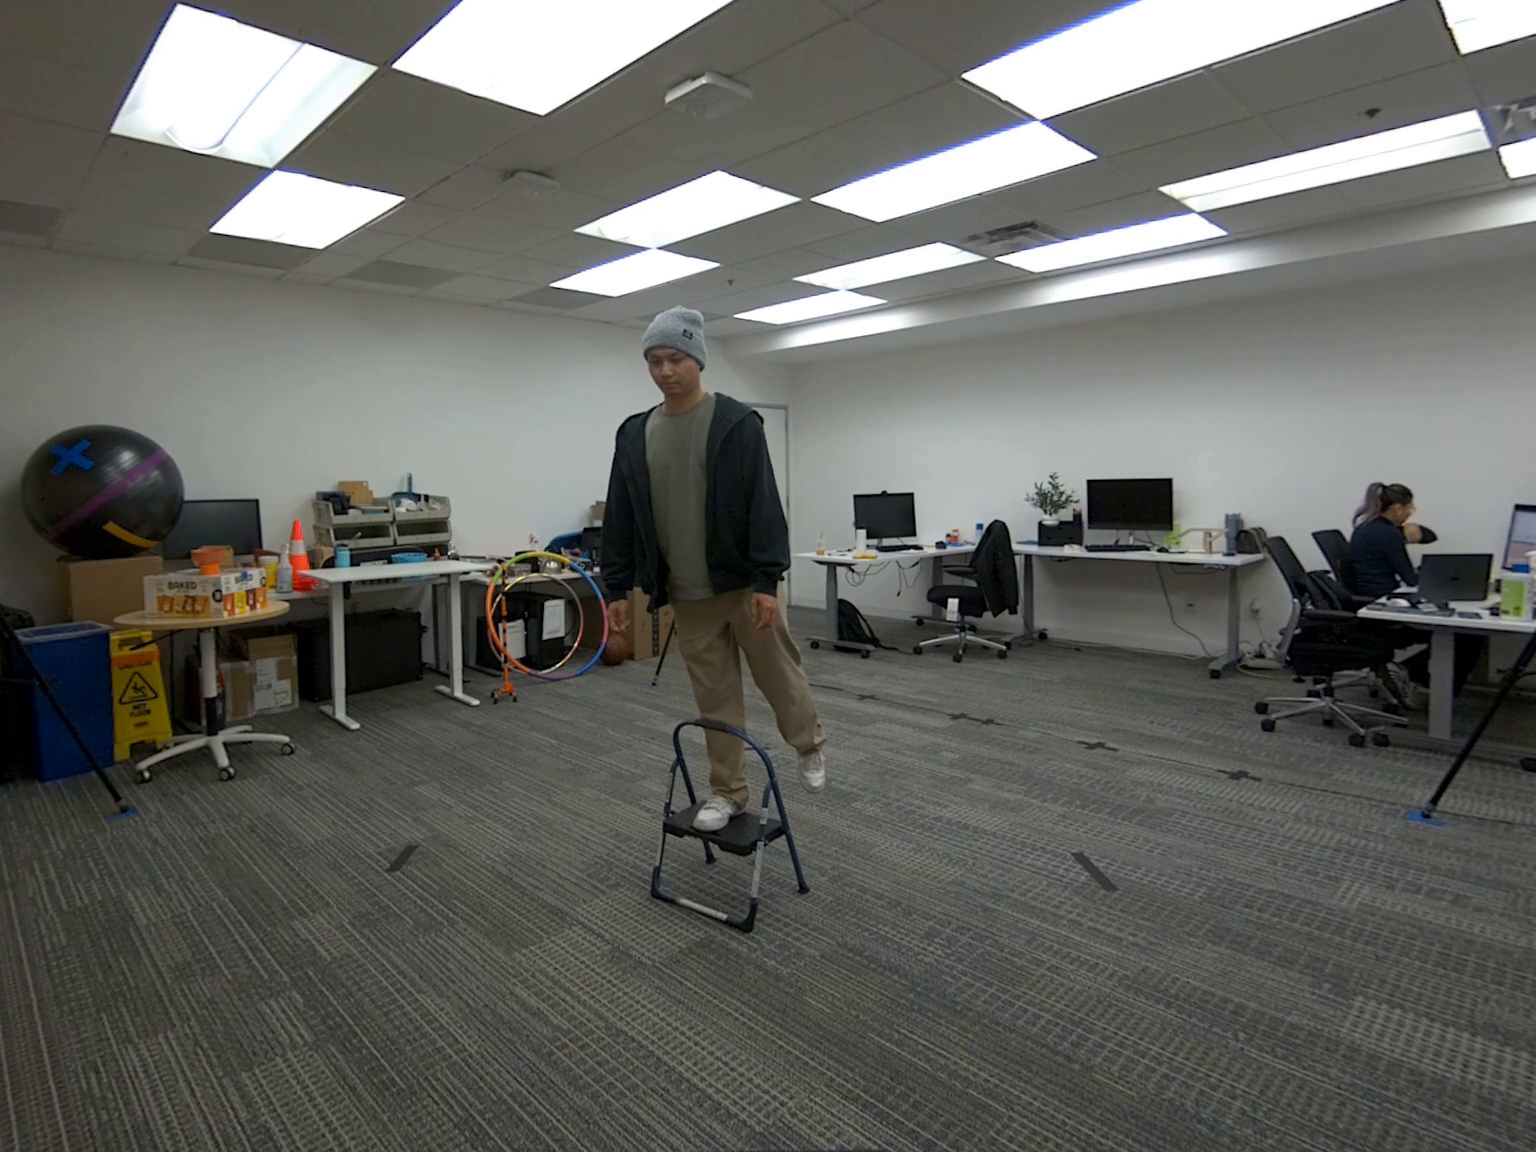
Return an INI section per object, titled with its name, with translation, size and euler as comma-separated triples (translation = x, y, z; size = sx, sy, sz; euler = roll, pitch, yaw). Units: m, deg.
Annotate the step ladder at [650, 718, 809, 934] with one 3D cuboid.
[step ladder]
translation = -0.135, 0.773, 2.864
size = 0.443, 0.603, 0.341
euler = 2, 6, 35
